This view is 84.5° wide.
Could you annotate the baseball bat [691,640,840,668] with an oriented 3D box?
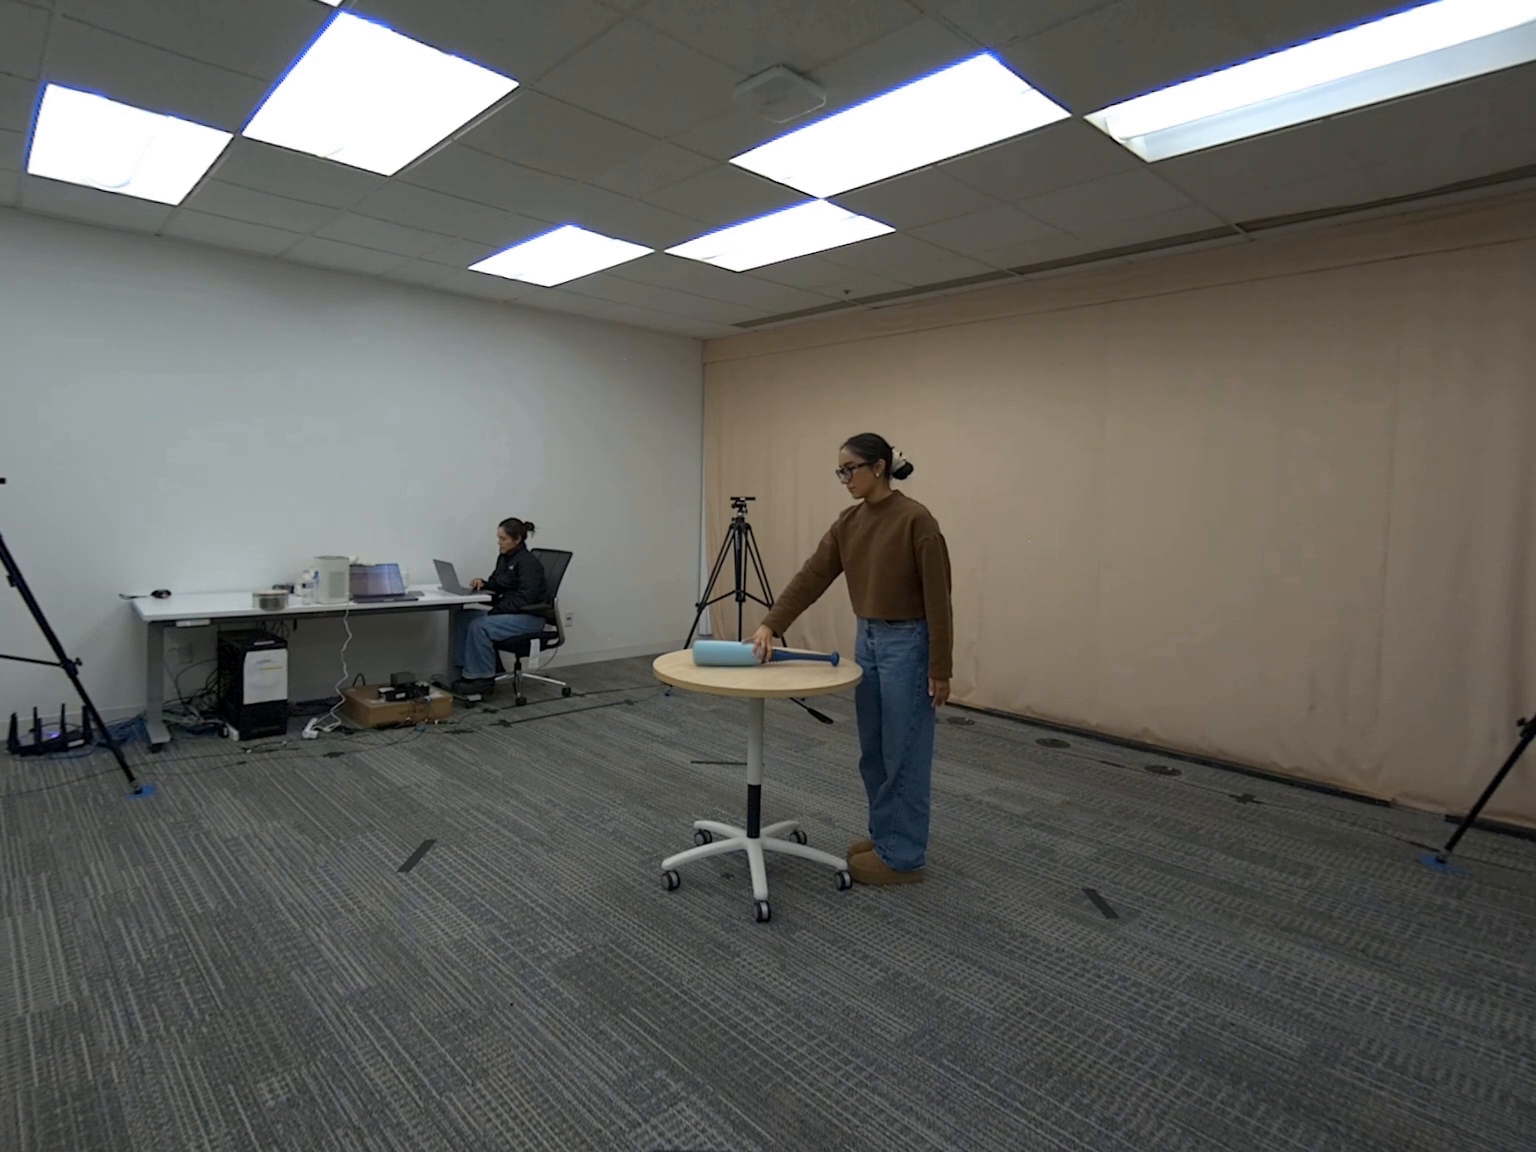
[{"bbox_3d":[-0.004,0.296,3.073,0.541,0.089,0.089,4,4,-5],"label":"baseball bat"}]
